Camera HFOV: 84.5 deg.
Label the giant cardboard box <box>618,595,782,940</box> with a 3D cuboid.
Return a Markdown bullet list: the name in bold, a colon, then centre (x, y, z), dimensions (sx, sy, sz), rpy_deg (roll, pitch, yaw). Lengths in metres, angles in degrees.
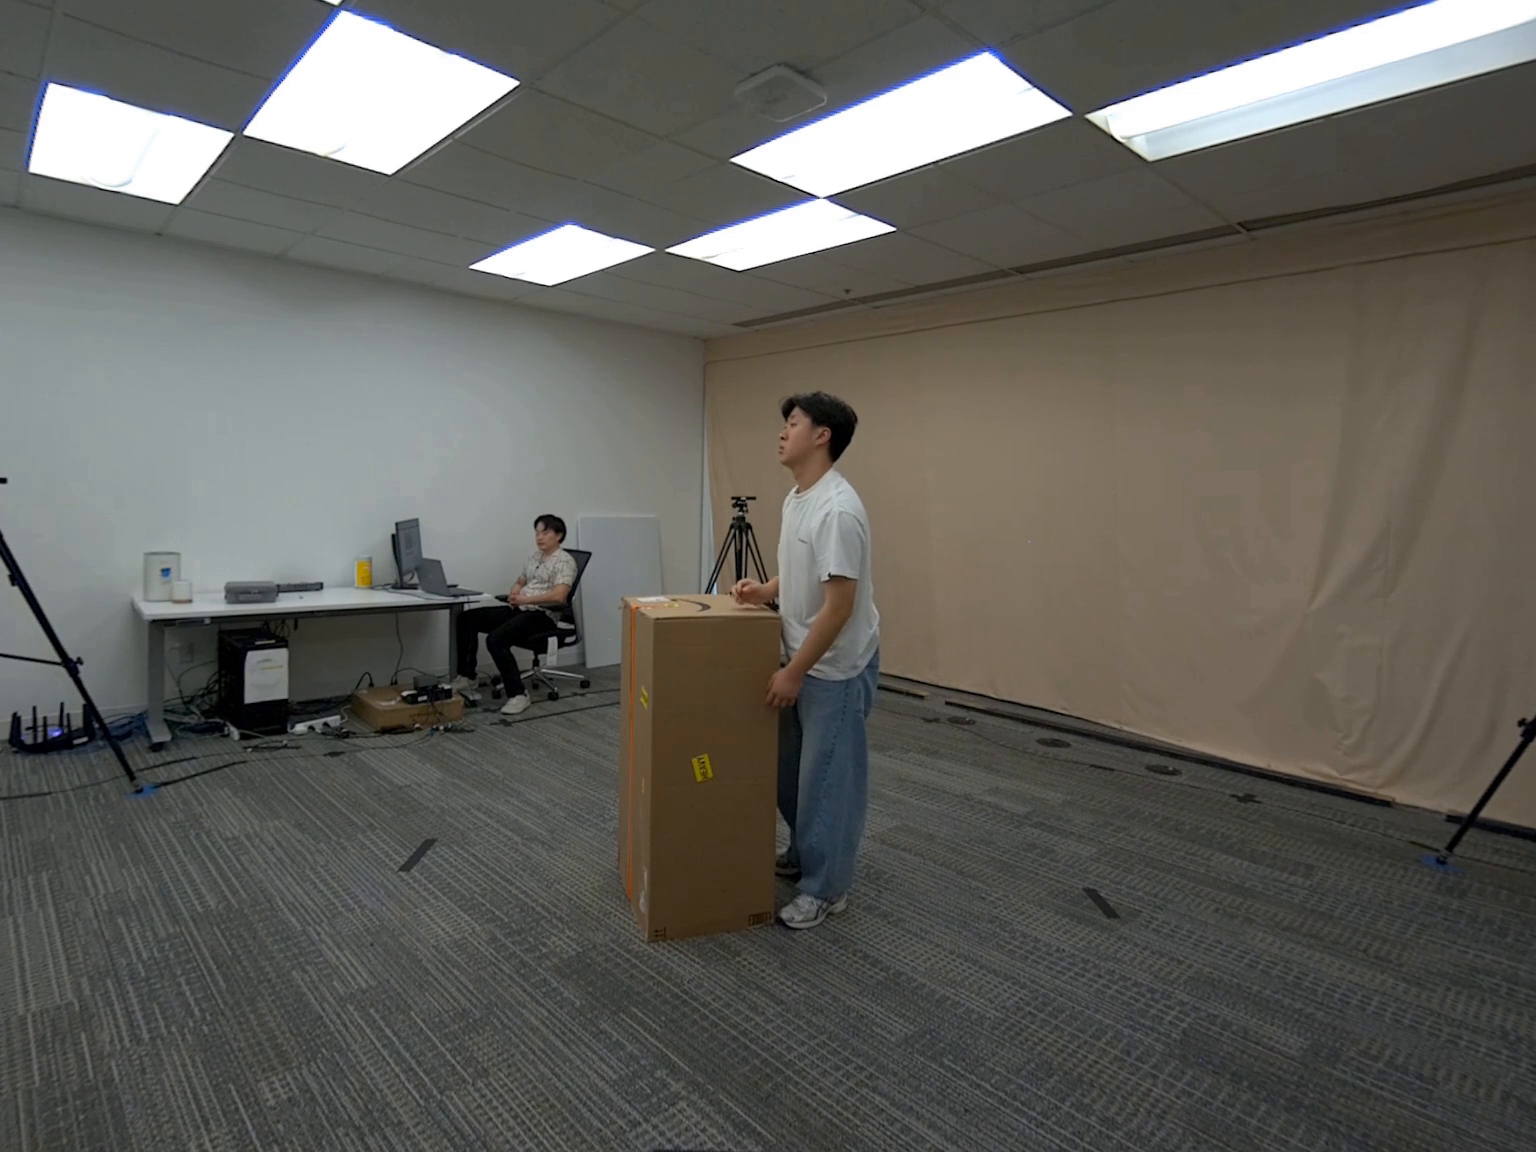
- **giant cardboard box**: centre (-0.272, 0.610, 2.928), dimensions (0.420, 1.023, 0.587), rpy_deg (0, 4, -20)
